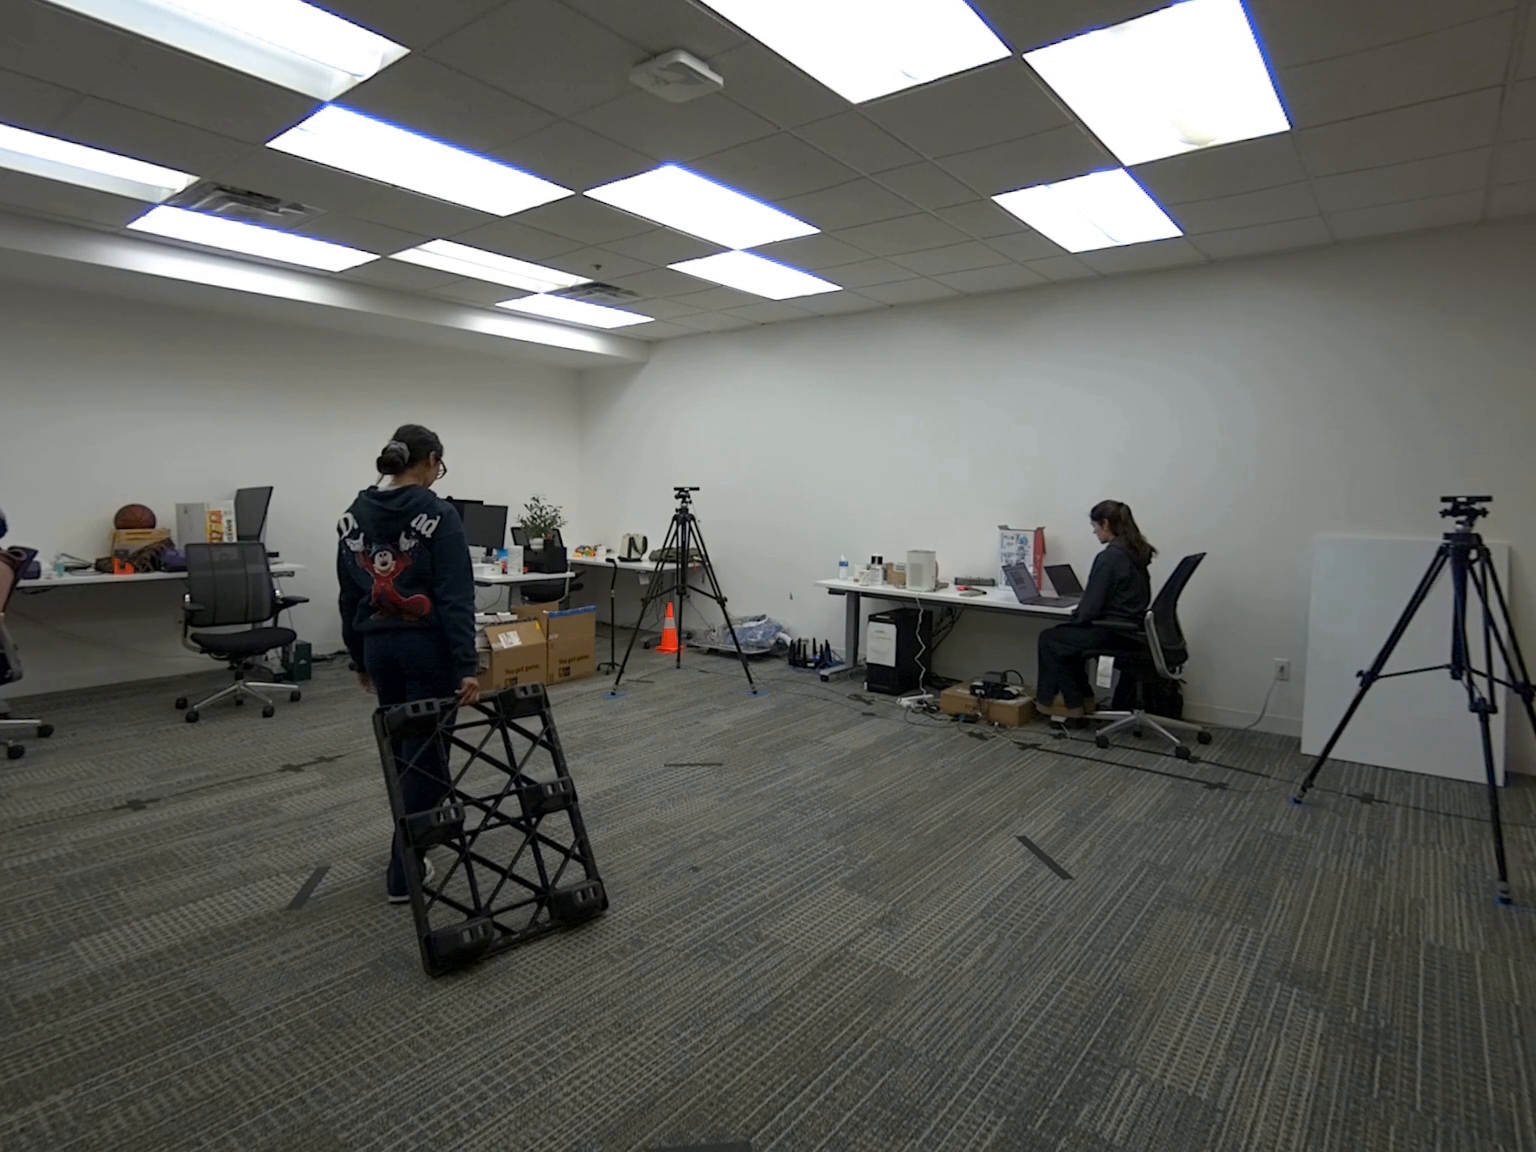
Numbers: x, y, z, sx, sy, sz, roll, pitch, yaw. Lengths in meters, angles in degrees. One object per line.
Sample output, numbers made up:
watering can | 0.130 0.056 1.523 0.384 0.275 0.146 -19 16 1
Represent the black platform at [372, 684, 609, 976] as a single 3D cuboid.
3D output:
black platform | -0.869 0.733 2.700 0.587 0.827 0.144 -4 -28 -40
